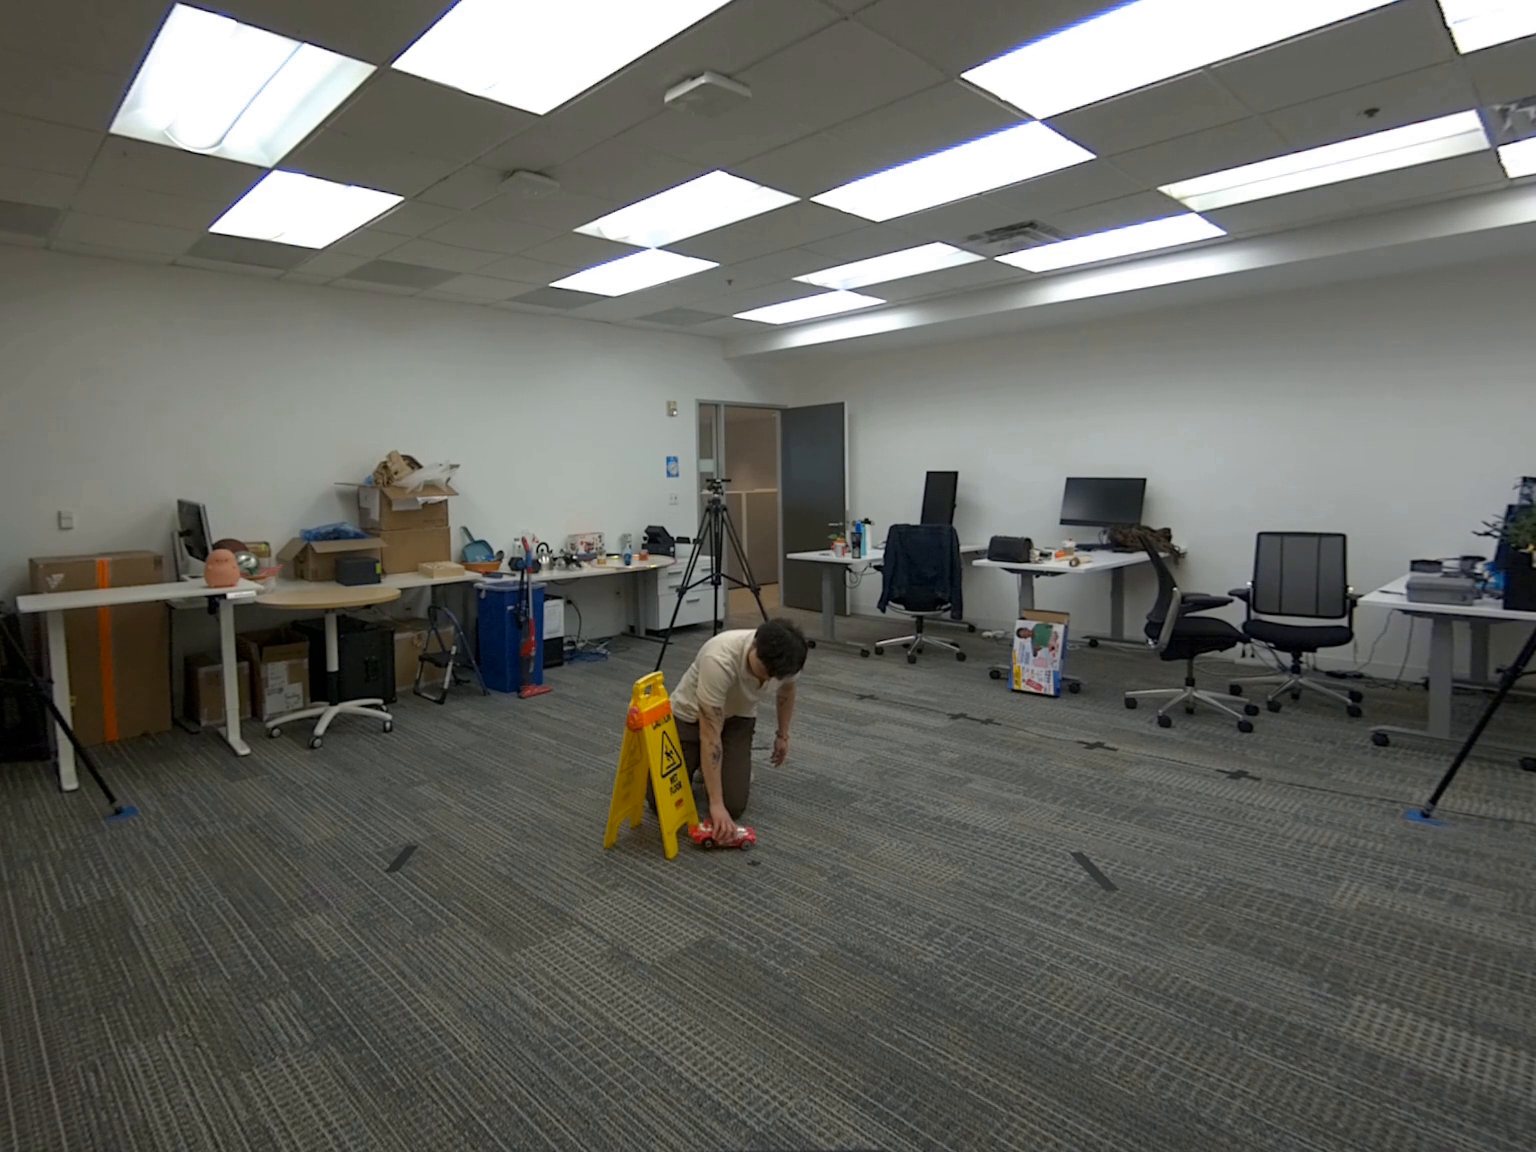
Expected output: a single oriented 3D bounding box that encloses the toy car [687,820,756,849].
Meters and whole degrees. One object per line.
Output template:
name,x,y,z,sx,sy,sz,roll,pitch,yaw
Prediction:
toy car,-0.185,0.982,3.262,0.253,0.083,0.132,15,6,-6
